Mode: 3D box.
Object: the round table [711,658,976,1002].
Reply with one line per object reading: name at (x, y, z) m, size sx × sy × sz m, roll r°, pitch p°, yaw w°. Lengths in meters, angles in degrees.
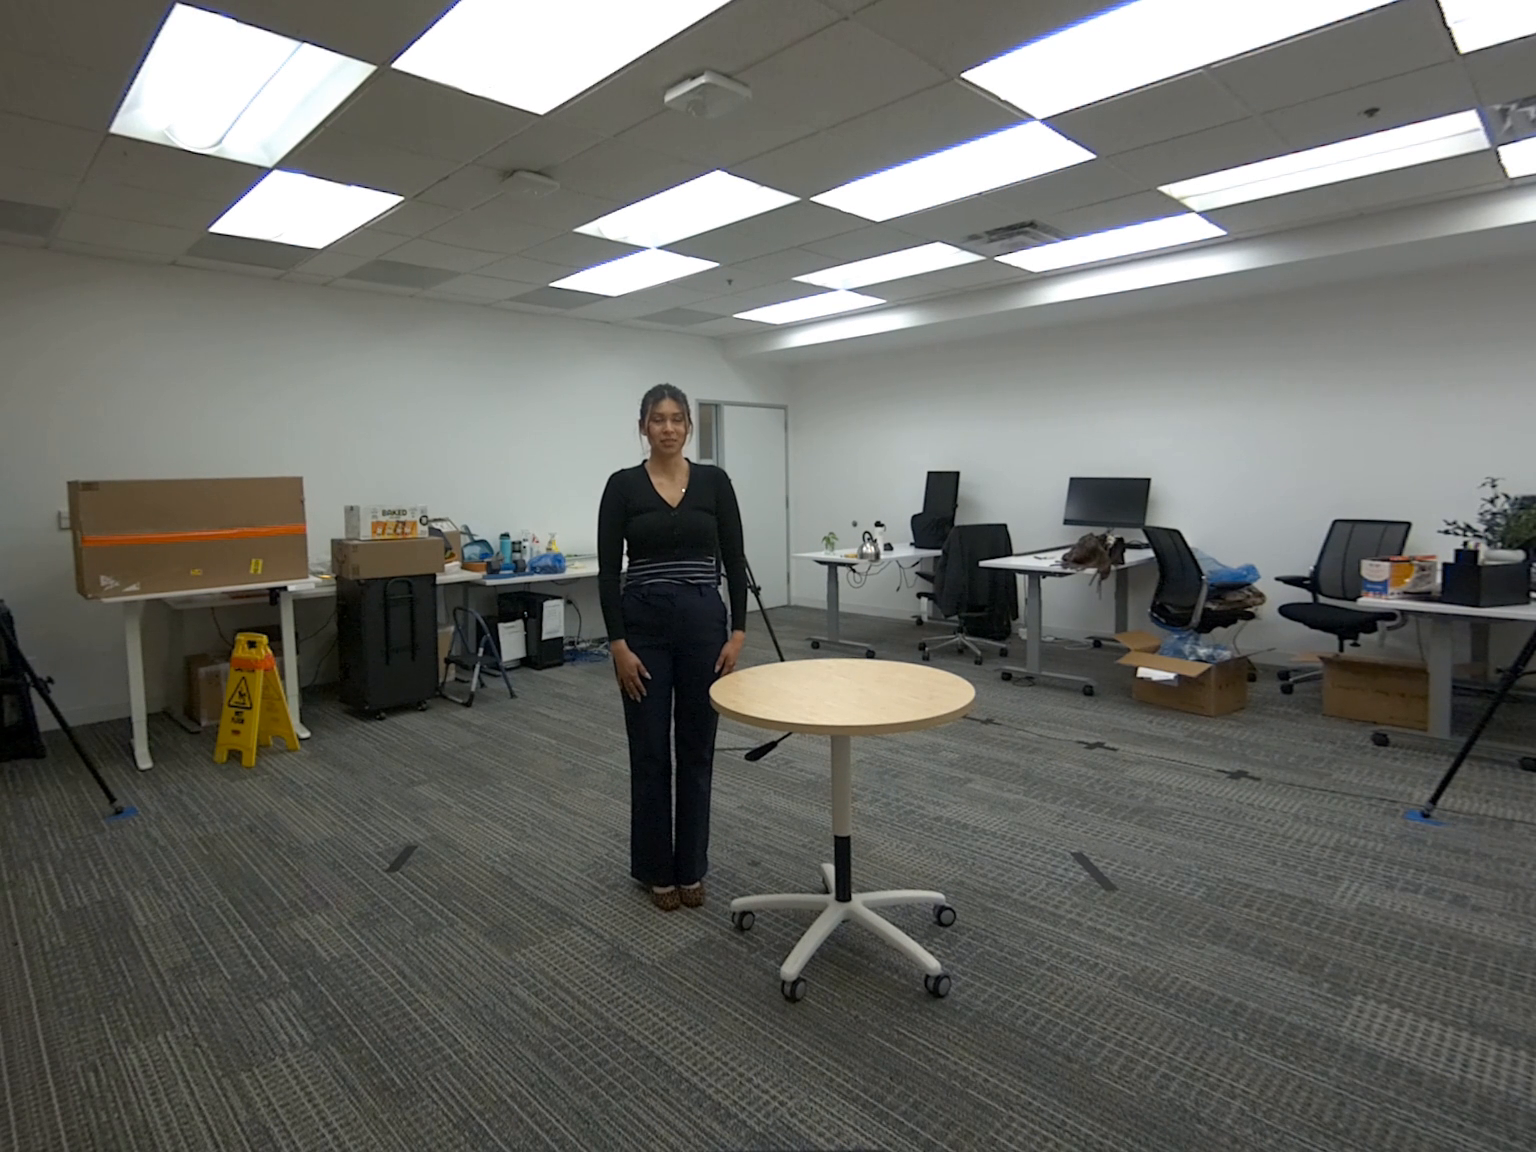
round table at (0.230, 0.718, 2.535) m, size 0.763 × 0.790 × 0.768 m, roll -2°, pitch 6°, yaw -2°
